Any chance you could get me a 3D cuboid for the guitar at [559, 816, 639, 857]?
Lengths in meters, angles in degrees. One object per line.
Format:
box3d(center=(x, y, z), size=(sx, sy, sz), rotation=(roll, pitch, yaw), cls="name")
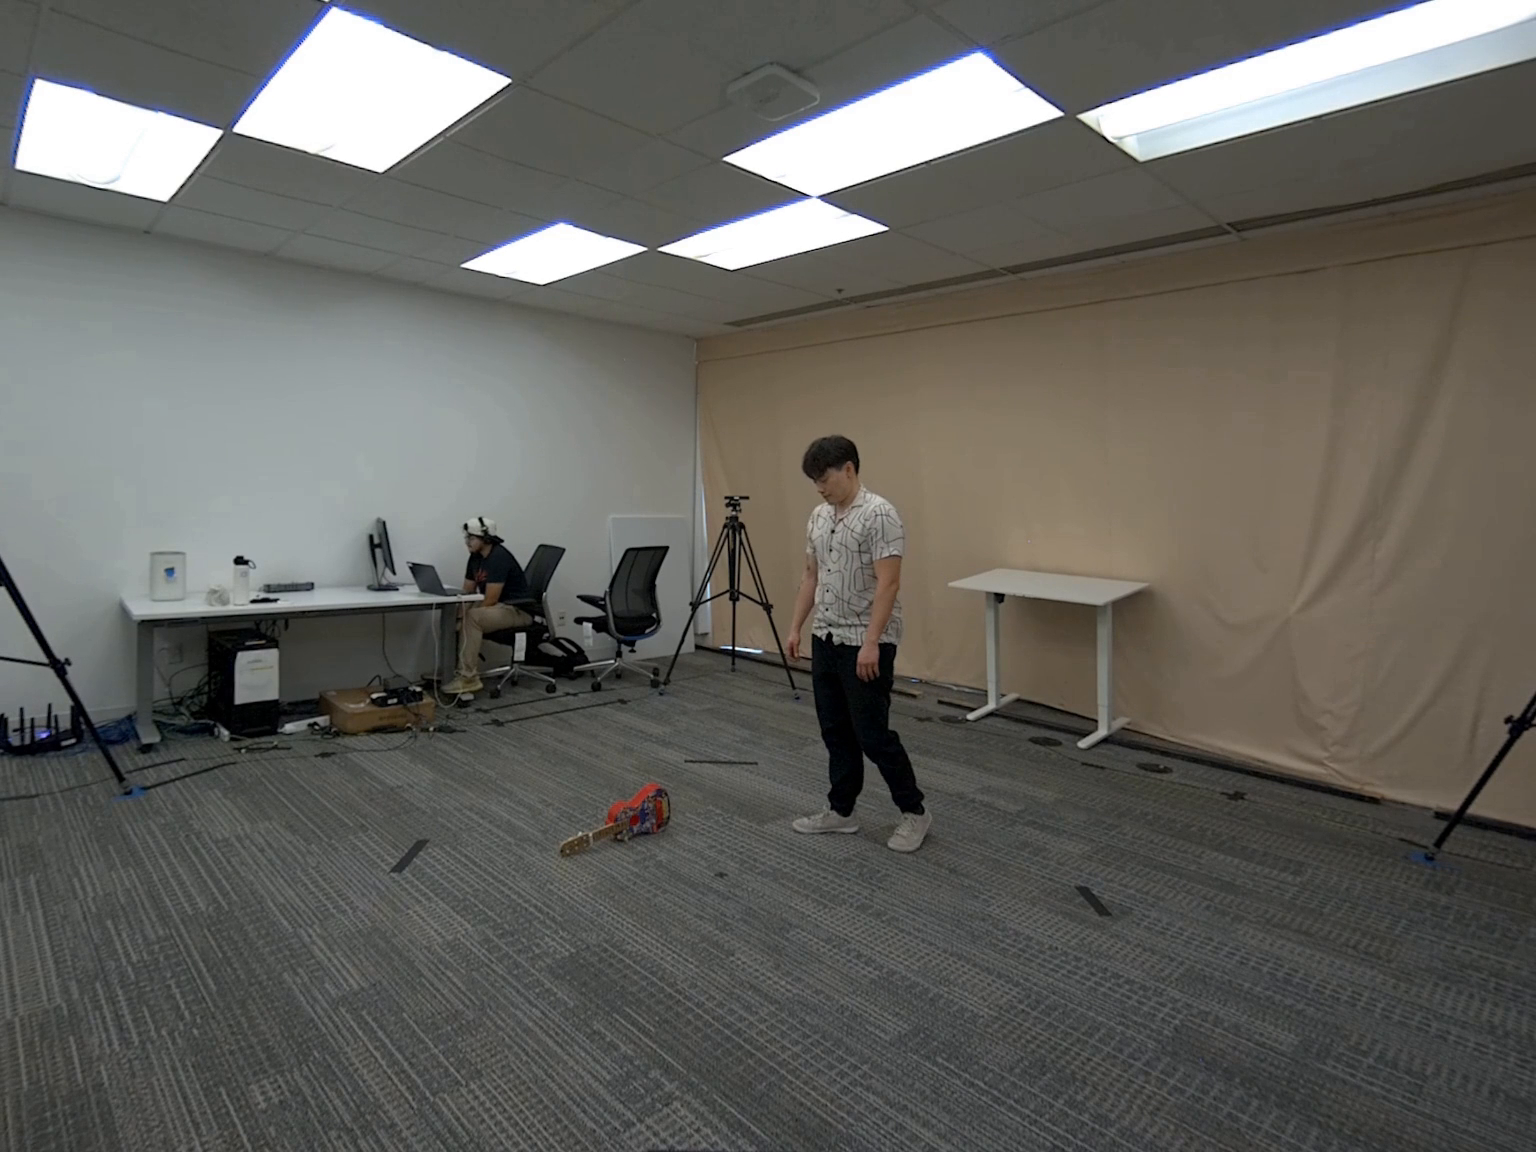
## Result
box3d(center=(-0.623, 0.977, 3.377), size=(0.487, 0.192, 0.072), rotation=(-3, 8, -37), cls="guitar")
